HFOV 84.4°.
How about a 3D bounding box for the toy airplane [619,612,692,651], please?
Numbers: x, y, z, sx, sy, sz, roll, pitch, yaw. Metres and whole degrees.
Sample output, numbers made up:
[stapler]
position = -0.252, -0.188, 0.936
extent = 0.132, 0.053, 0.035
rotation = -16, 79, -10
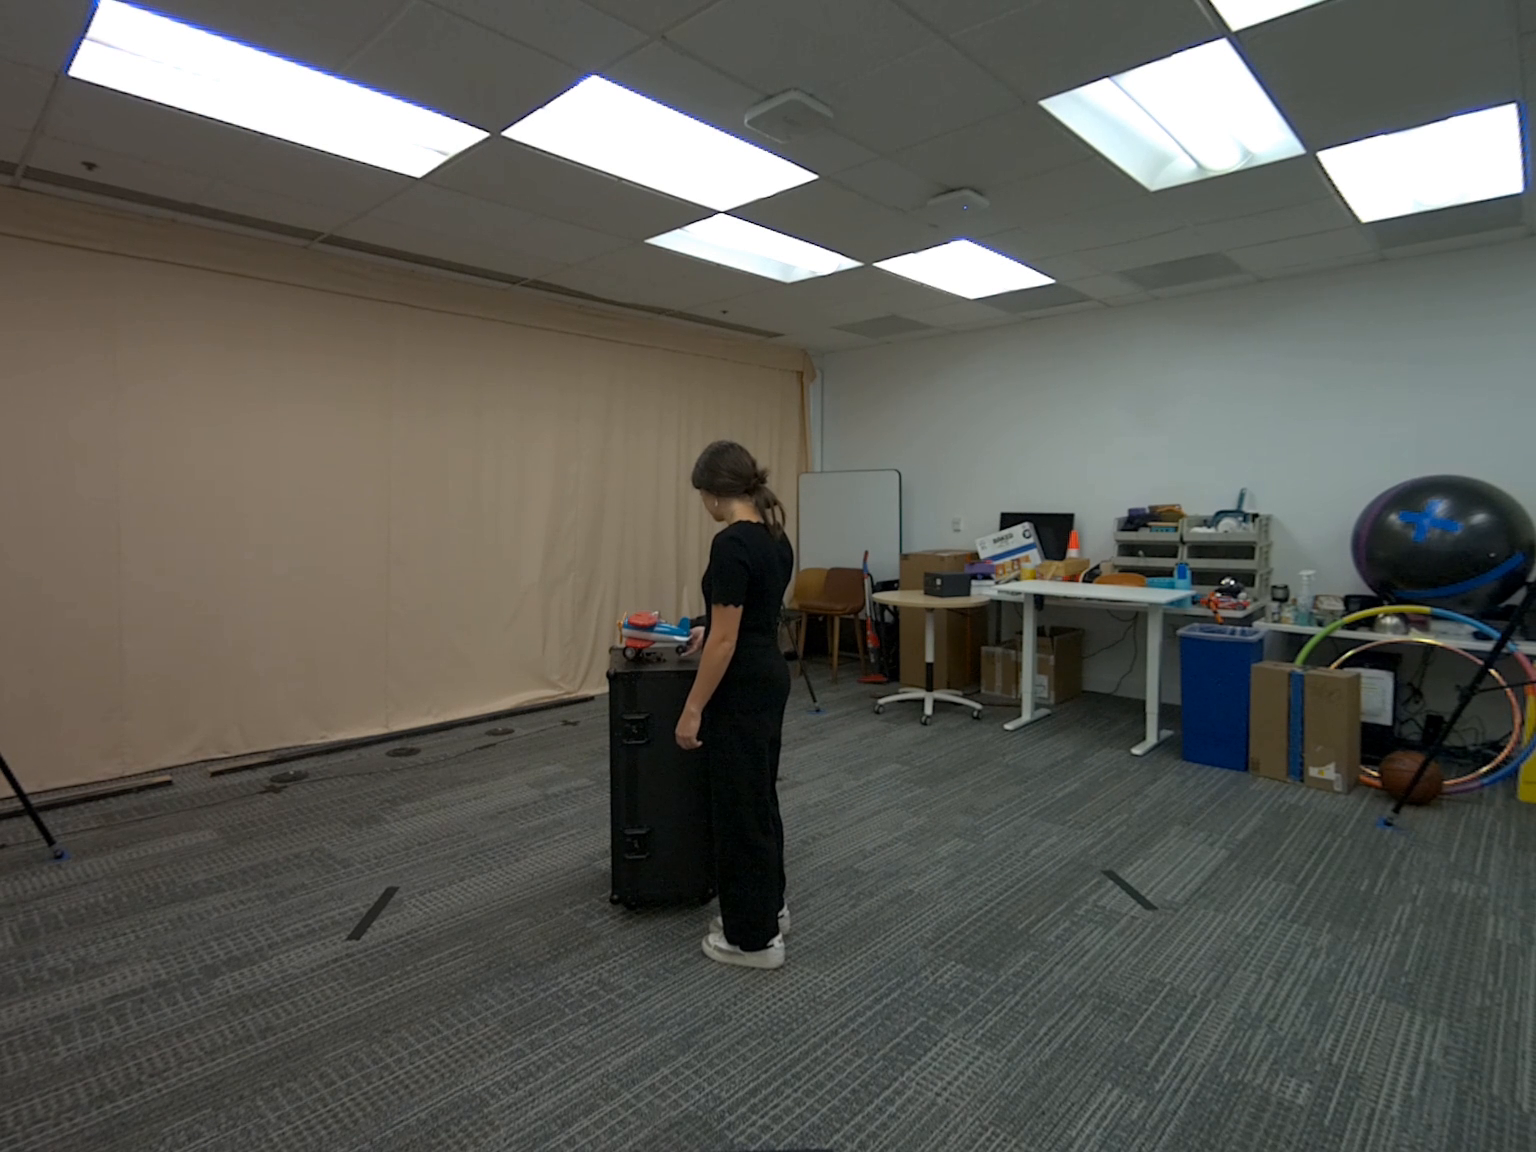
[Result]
[toy airplane]
position = -0.403, 0.208, 3.025
extent = 0.254, 0.156, 0.257
rotation = -8, 5, -23
